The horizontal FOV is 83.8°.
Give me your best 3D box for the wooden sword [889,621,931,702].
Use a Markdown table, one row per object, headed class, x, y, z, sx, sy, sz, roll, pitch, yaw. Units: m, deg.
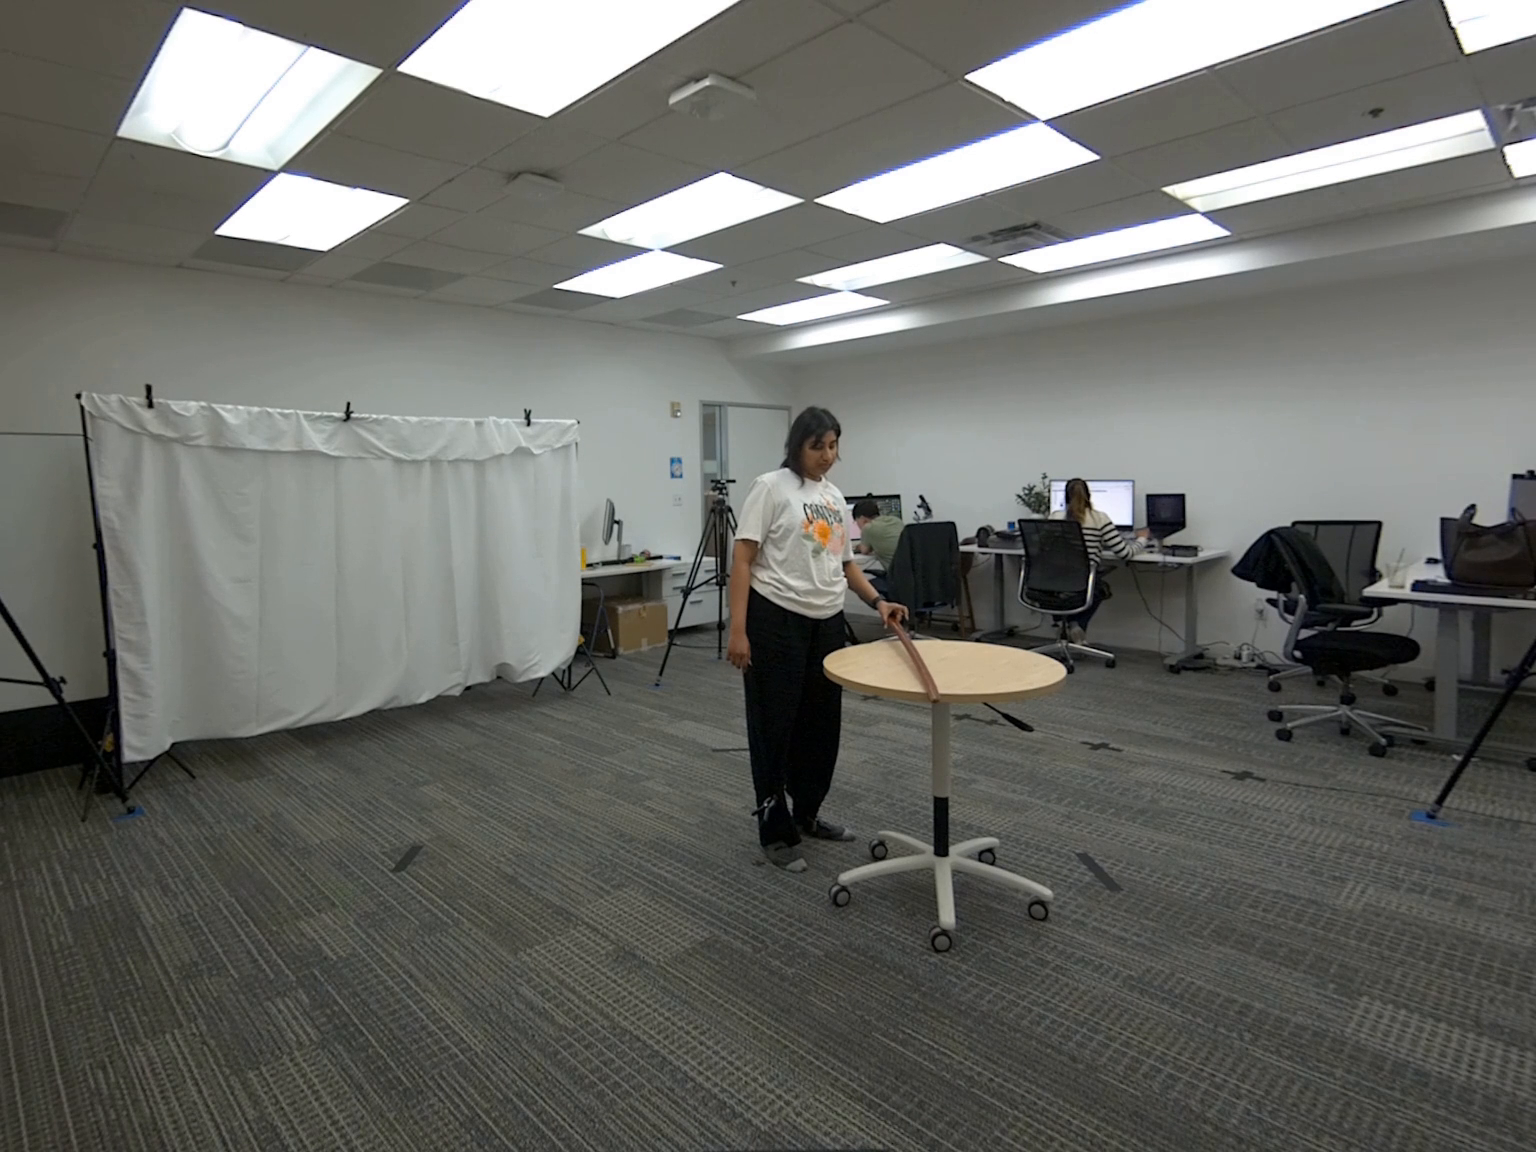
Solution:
| class | x | y | z | sx | sy | sz | roll | pitch | yaw |
| --- | --- | --- | --- | --- | --- | --- | --- | --- | --- |
| wooden sword | 0.432 | 0.234 | 2.866 | 0.051 | 0.024 | 1.029 | -40 | 7 | 11 |
